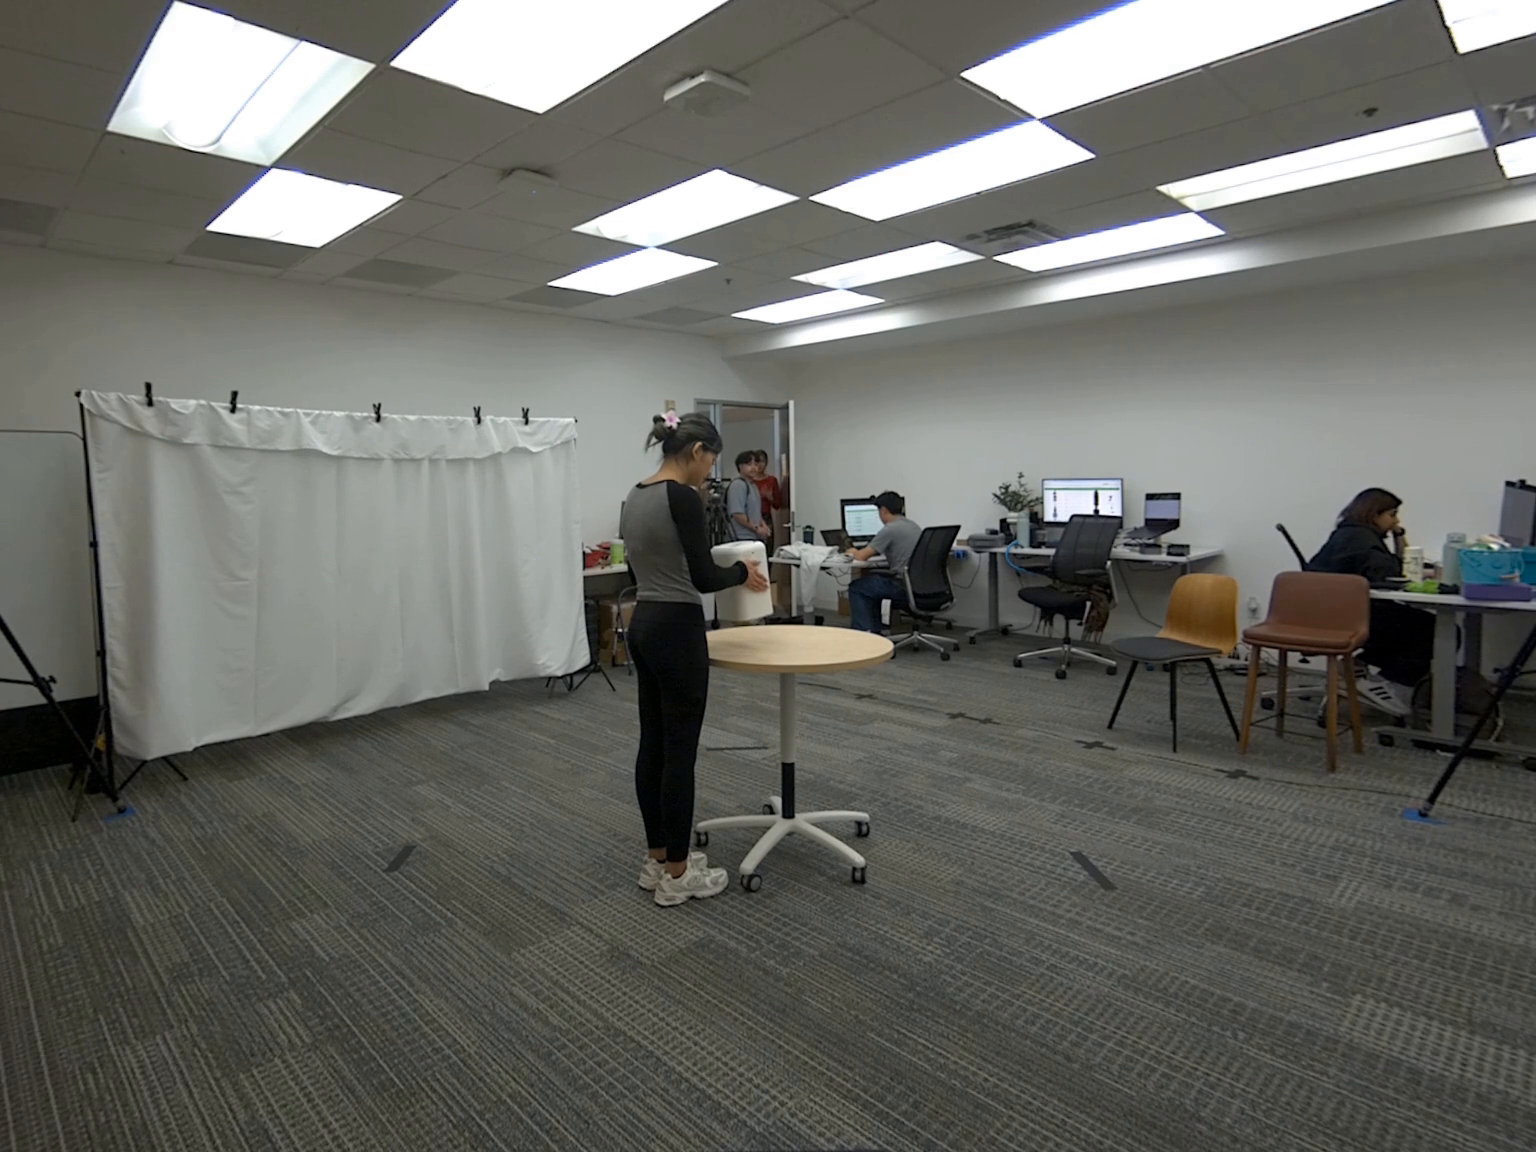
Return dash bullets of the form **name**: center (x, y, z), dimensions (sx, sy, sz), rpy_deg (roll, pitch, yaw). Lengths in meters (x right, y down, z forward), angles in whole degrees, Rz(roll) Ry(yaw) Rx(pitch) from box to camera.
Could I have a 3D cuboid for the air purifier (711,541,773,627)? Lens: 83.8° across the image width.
- **air purifier**: center (-0.096, 0.017, 3.058), dimensions (0.167, 0.263, 0.177), rpy_deg (-12, 9, -39)
